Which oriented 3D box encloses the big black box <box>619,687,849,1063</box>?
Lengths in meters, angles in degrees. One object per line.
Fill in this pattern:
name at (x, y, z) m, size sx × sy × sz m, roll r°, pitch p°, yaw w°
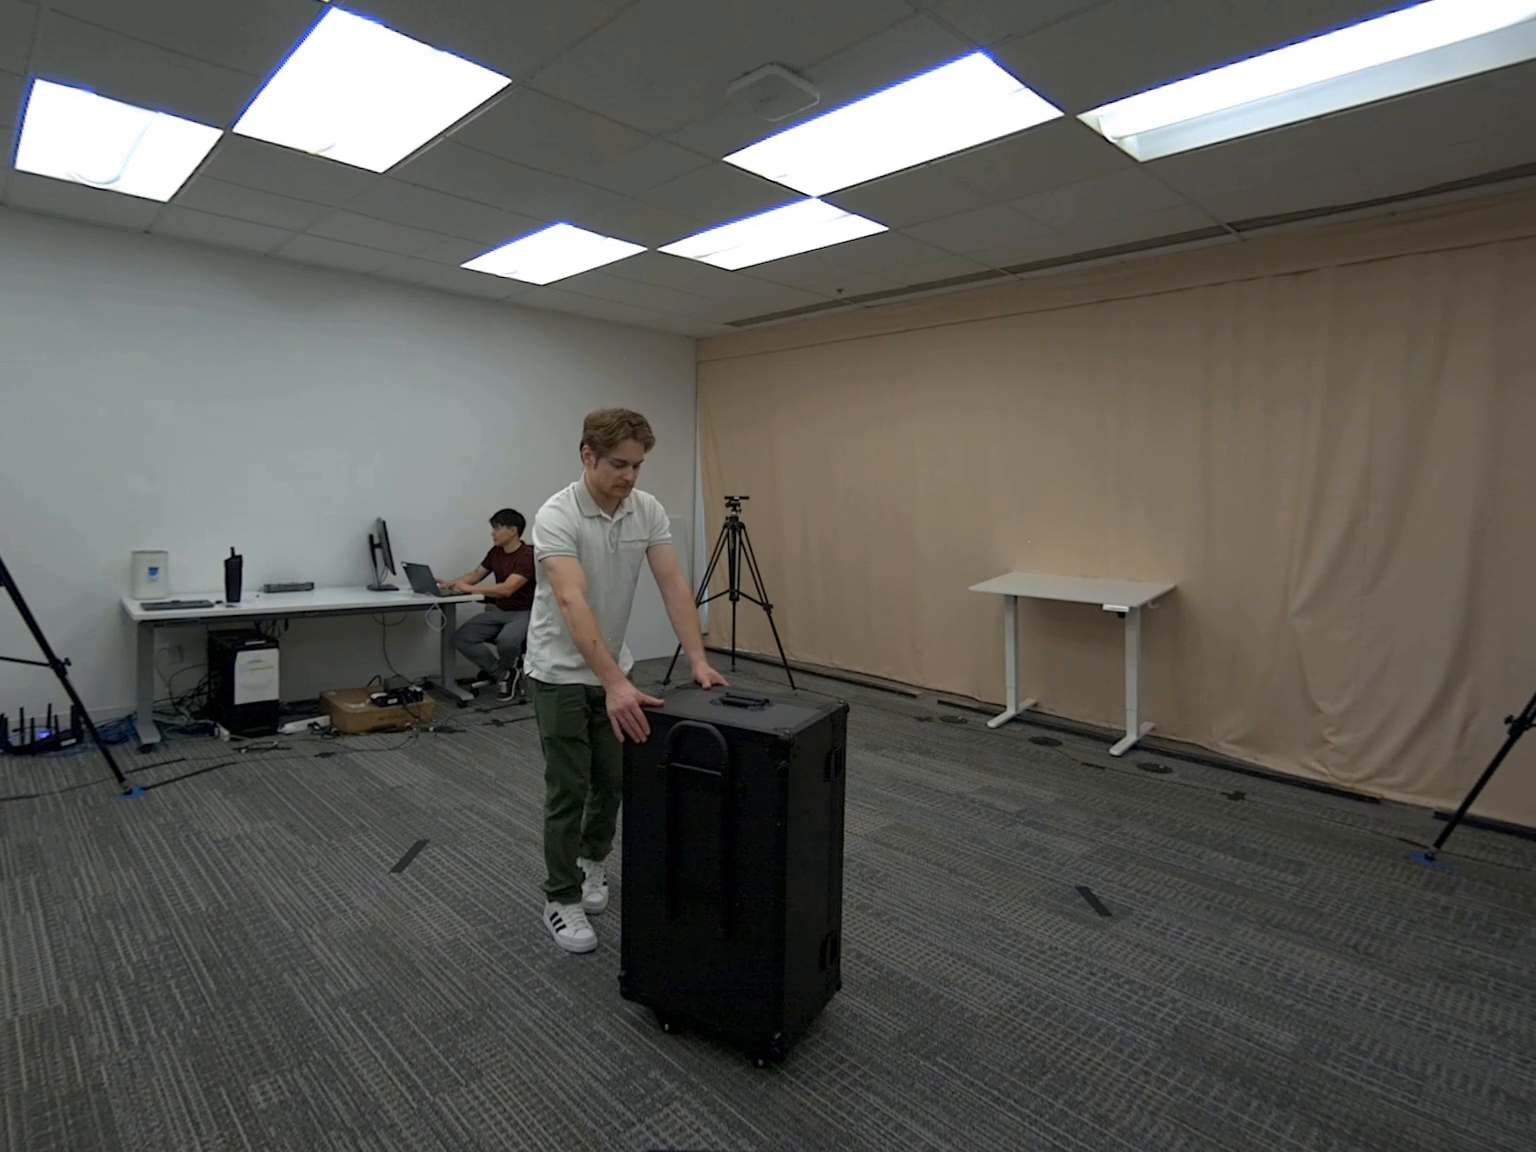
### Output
big black box at (-0.089, 0.764, 2.214) m, size 0.534 × 0.866 × 0.378 m, roll 2°, pitch 4°, yaw 29°
